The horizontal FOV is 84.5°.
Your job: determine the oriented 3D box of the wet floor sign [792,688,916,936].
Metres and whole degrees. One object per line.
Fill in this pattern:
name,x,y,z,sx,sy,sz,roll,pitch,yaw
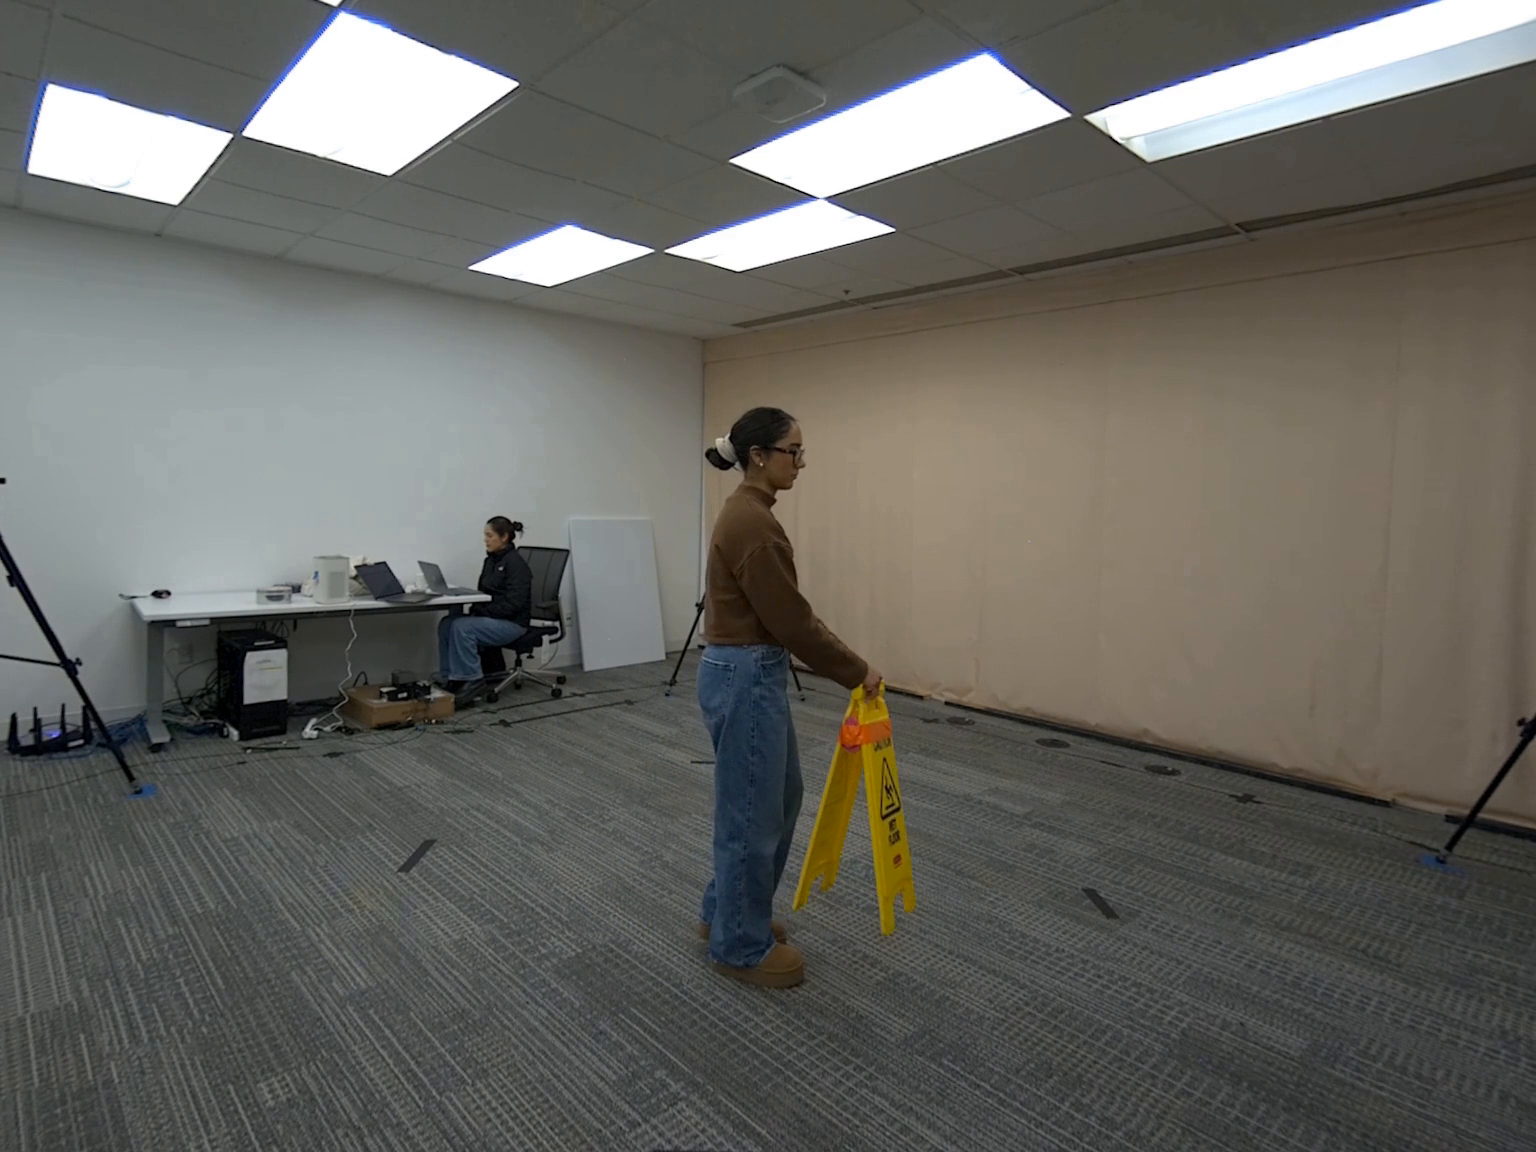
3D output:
wet floor sign,0.269,0.628,2.405,0.296,0.647,0.276,3,-2,28
